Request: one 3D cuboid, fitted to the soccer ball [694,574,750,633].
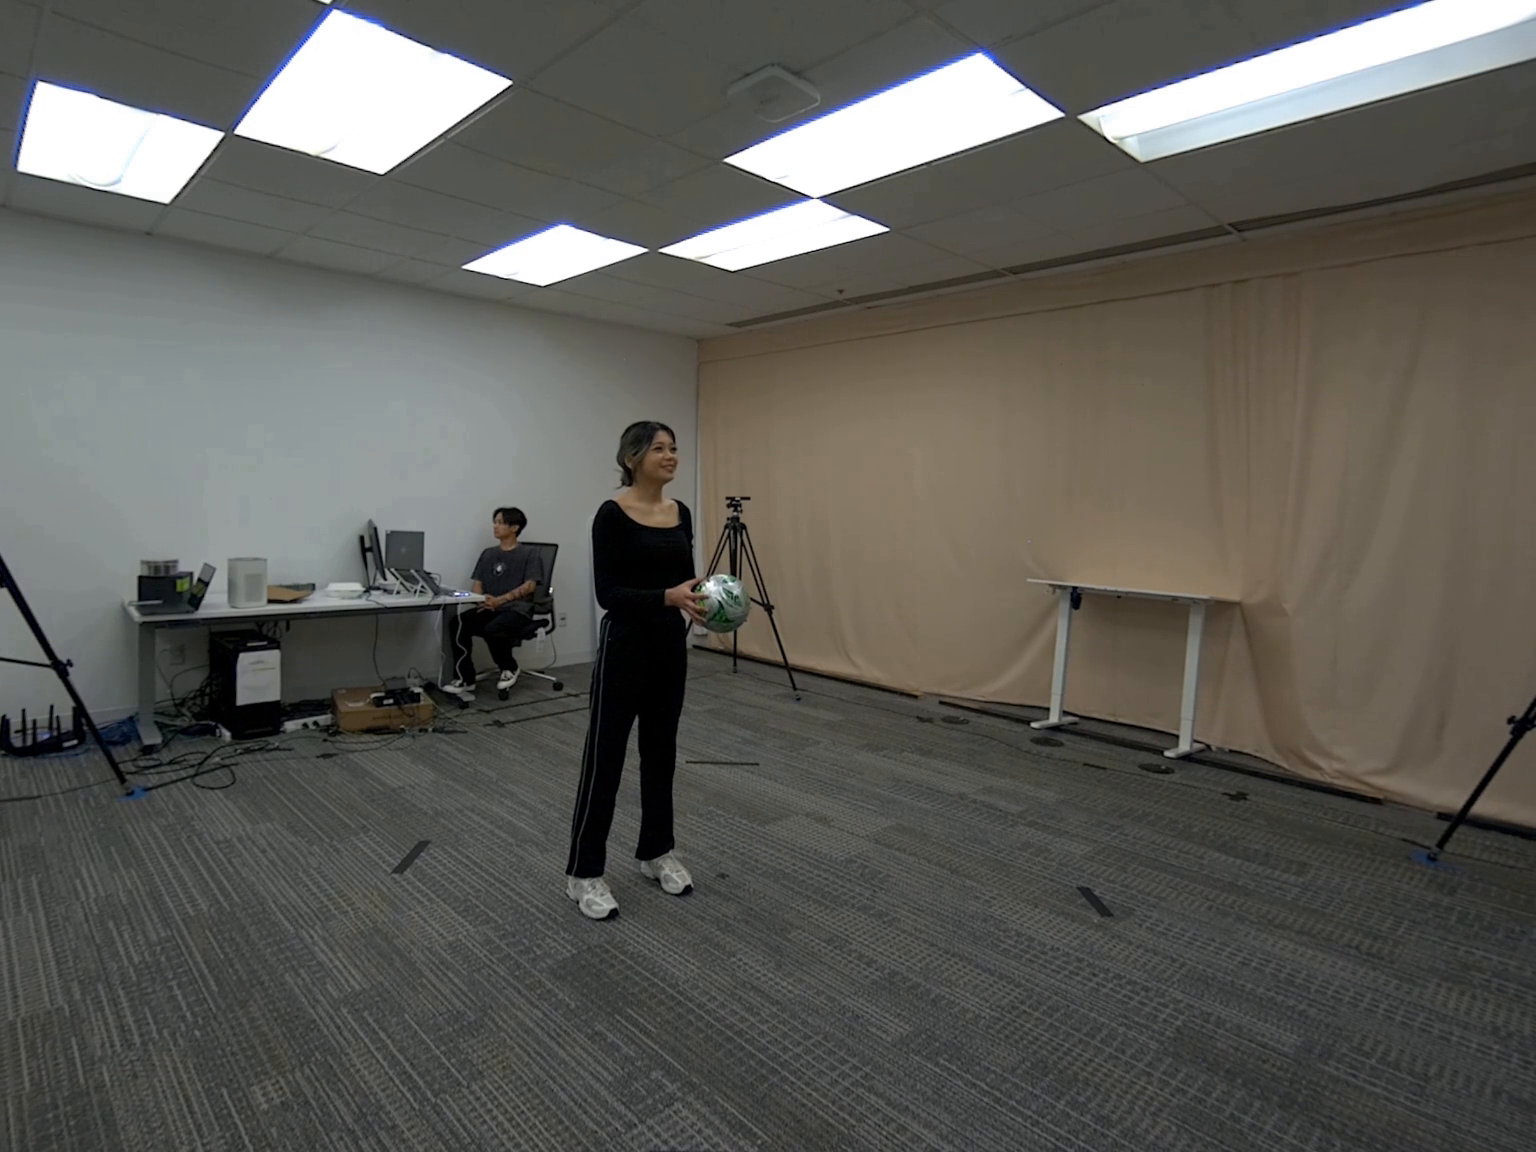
[{"bbox_3d":[-0.166,0.077,2.669,0.187,0.187,0.188,1,4,-1],"label":"soccer ball"}]
